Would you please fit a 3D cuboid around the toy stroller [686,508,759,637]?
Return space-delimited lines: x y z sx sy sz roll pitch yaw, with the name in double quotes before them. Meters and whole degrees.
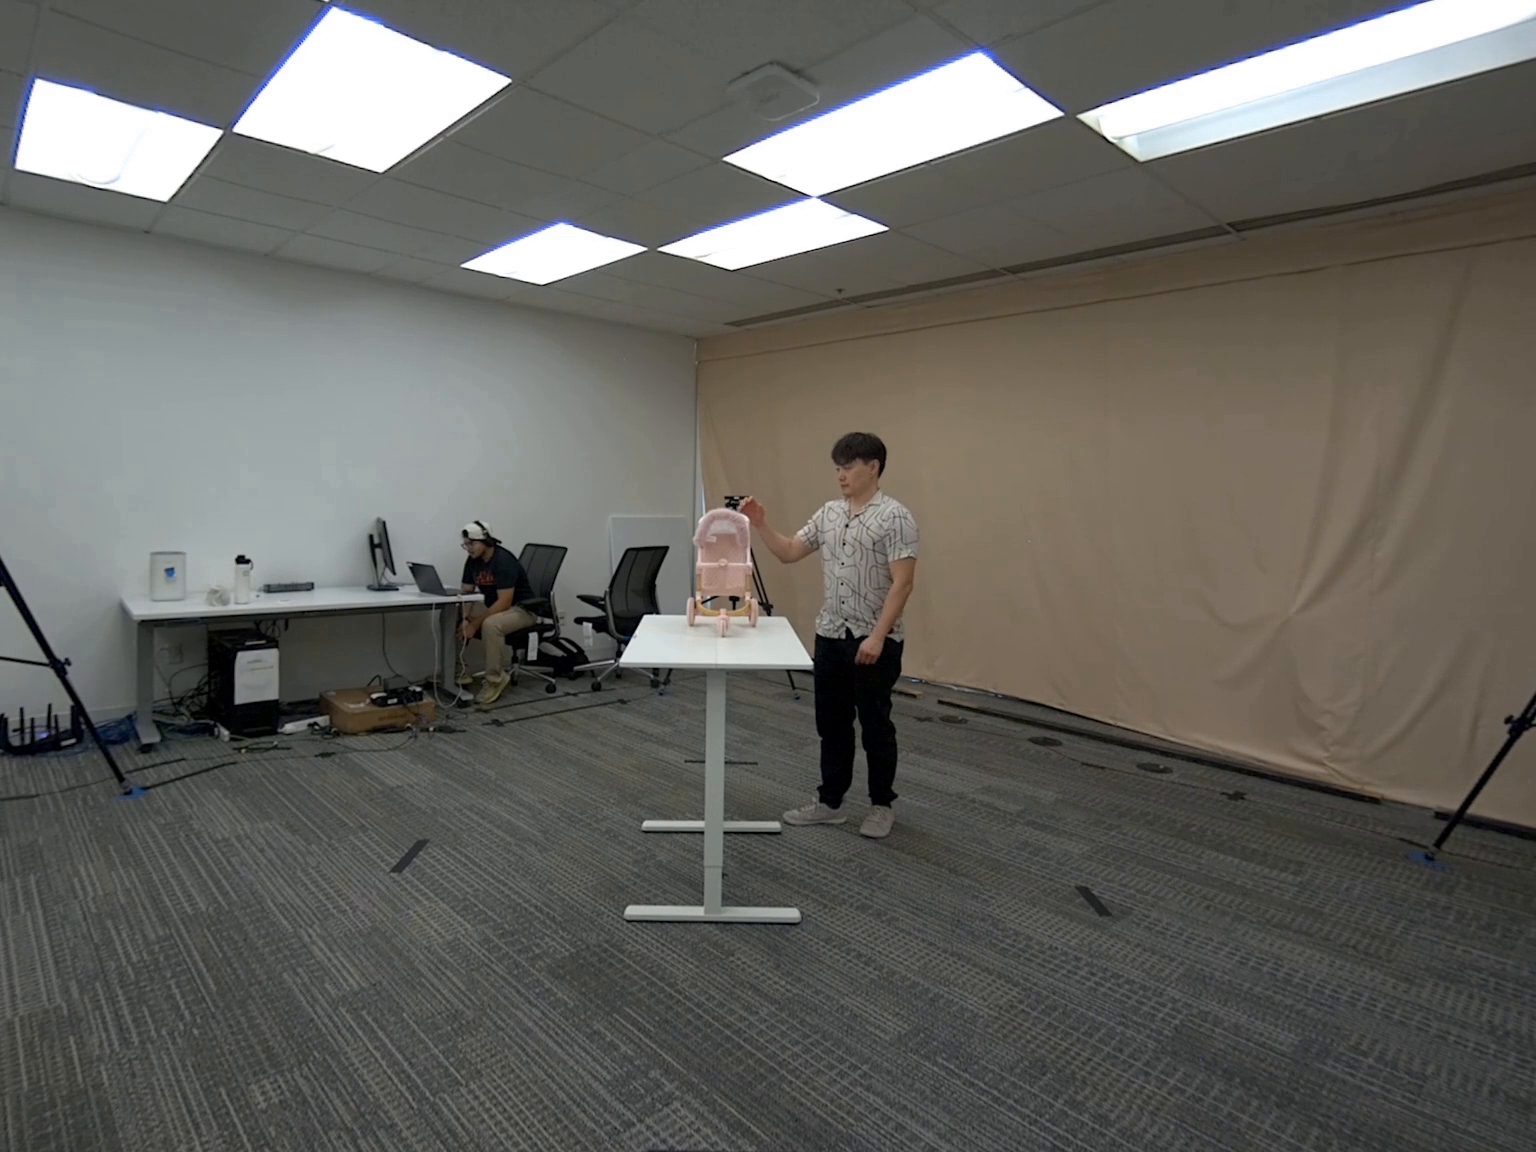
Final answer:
"toy stroller" -0.180 -0.018 3.253 0.282 0.539 0.338 0 -11 2
